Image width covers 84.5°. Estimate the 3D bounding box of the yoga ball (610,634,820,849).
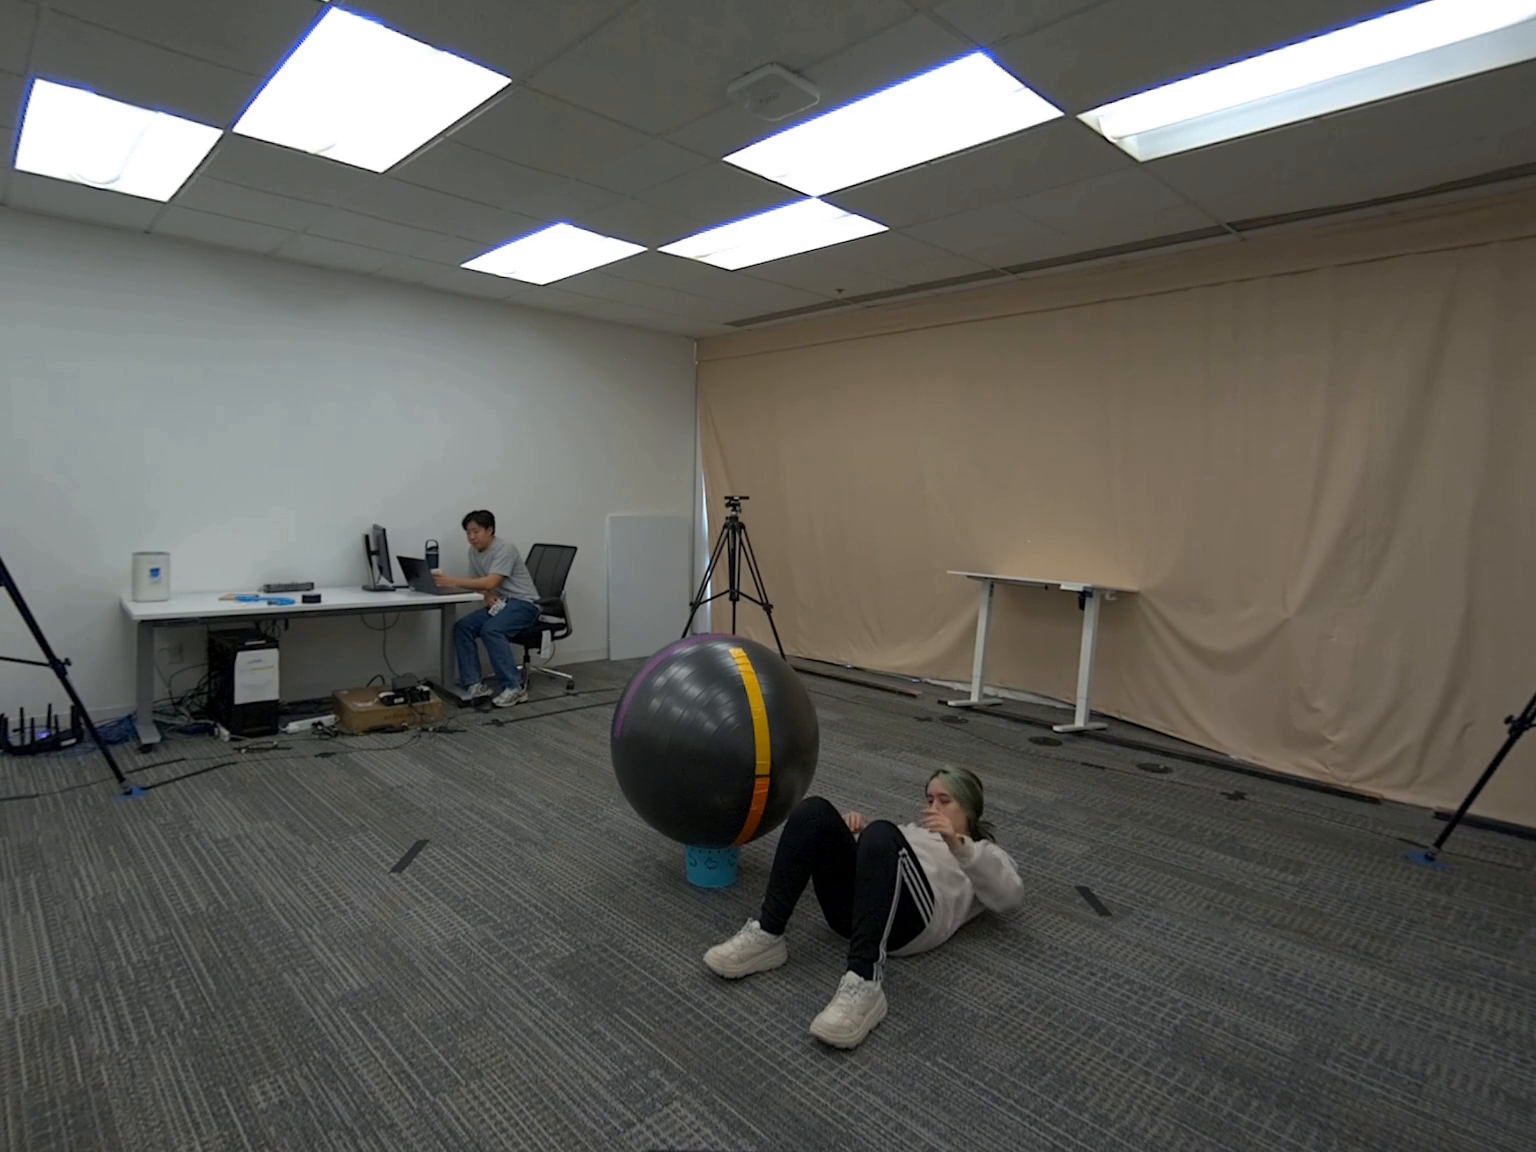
[{"bbox_3d":[-0.198,0.592,3.062,0.757,0.756,0.761,1,4,-1],"label":"yoga ball"}]
